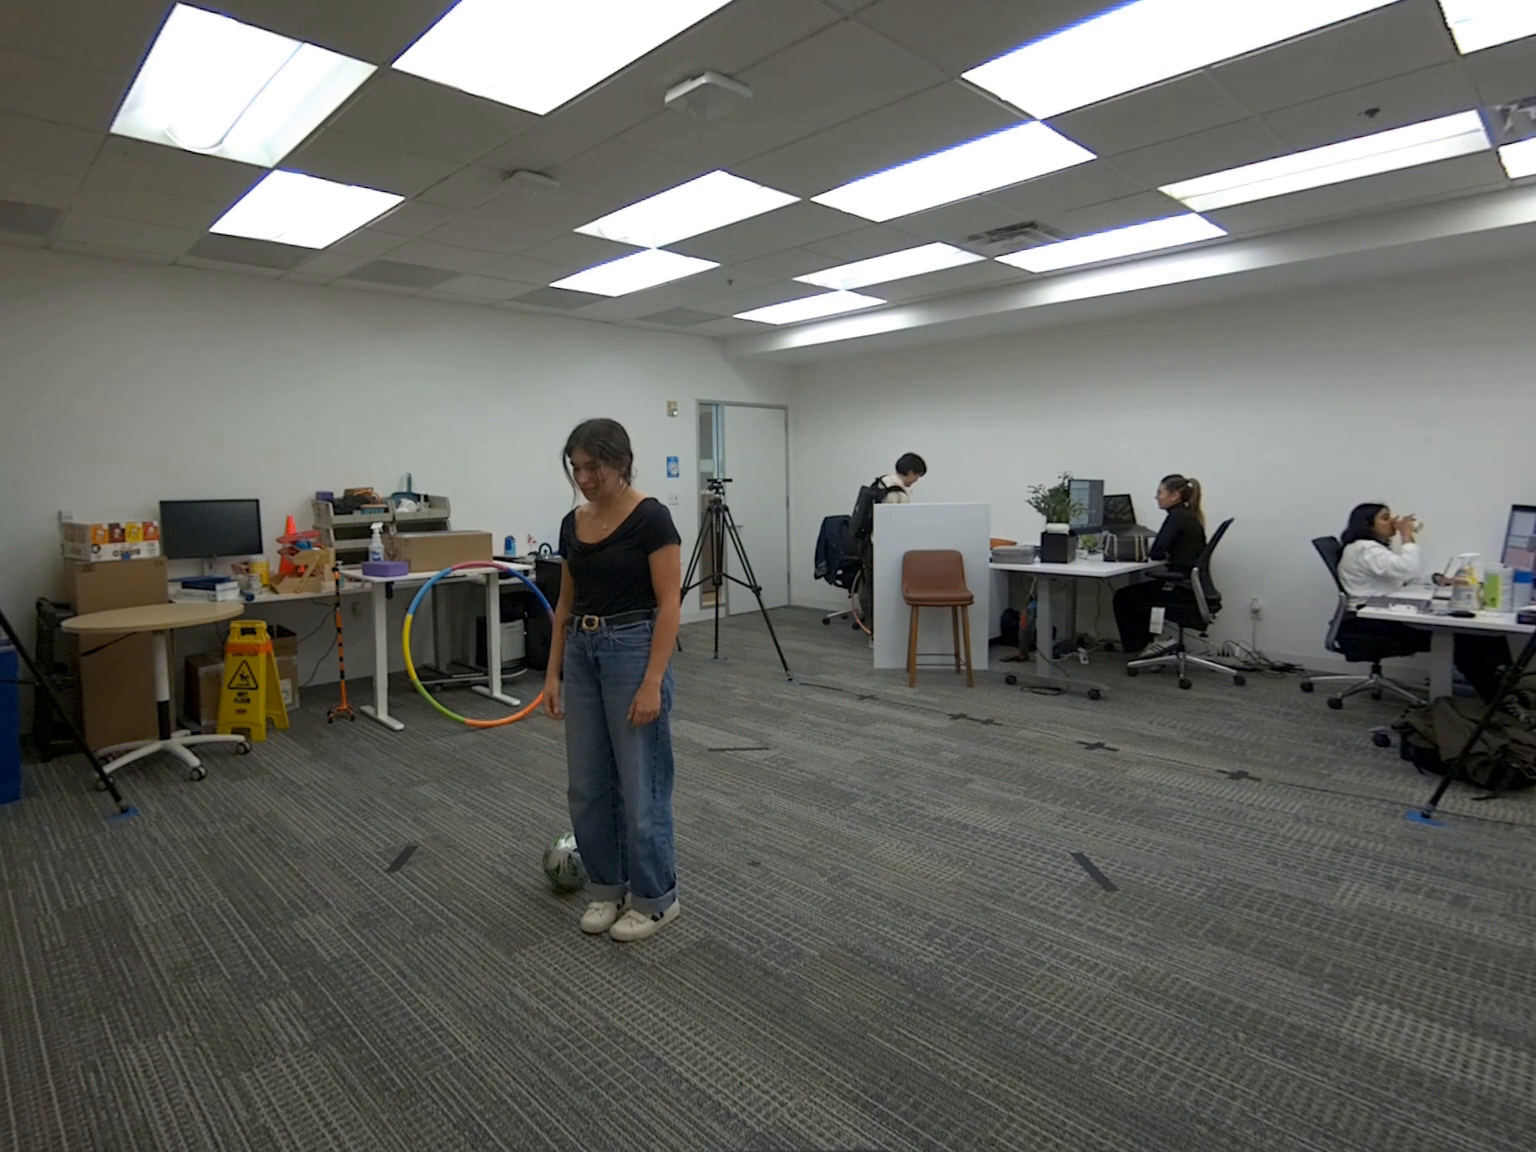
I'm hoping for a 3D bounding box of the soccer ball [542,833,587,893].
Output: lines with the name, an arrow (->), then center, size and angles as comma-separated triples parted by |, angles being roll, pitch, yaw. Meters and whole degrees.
soccer ball -> -0.672, 0.985, 2.952 | 0.187, 0.187, 0.188 | -1, 5, -2
